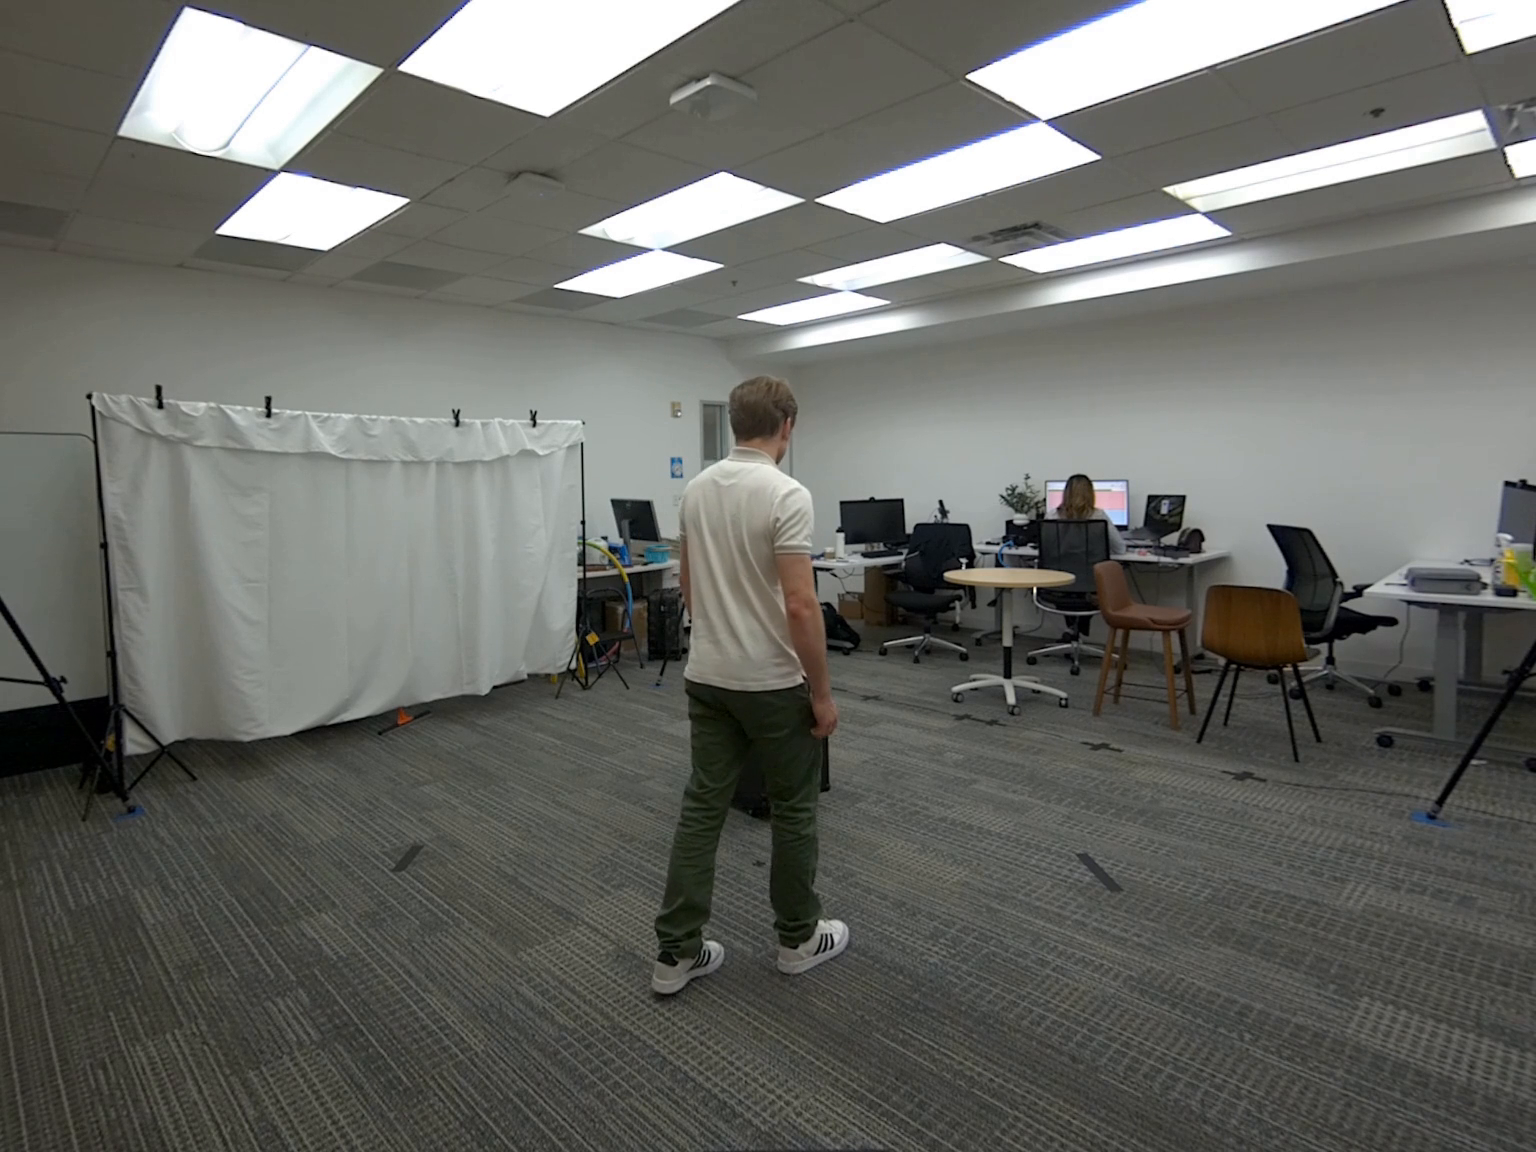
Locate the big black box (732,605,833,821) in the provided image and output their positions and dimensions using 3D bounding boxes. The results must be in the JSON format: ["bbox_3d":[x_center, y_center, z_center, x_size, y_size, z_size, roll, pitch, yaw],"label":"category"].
[{"bbox_3d":[-0.038,0.557,3.686,0.386,0.858,0.537,-5,6,-39],"label":"big black box"}]
